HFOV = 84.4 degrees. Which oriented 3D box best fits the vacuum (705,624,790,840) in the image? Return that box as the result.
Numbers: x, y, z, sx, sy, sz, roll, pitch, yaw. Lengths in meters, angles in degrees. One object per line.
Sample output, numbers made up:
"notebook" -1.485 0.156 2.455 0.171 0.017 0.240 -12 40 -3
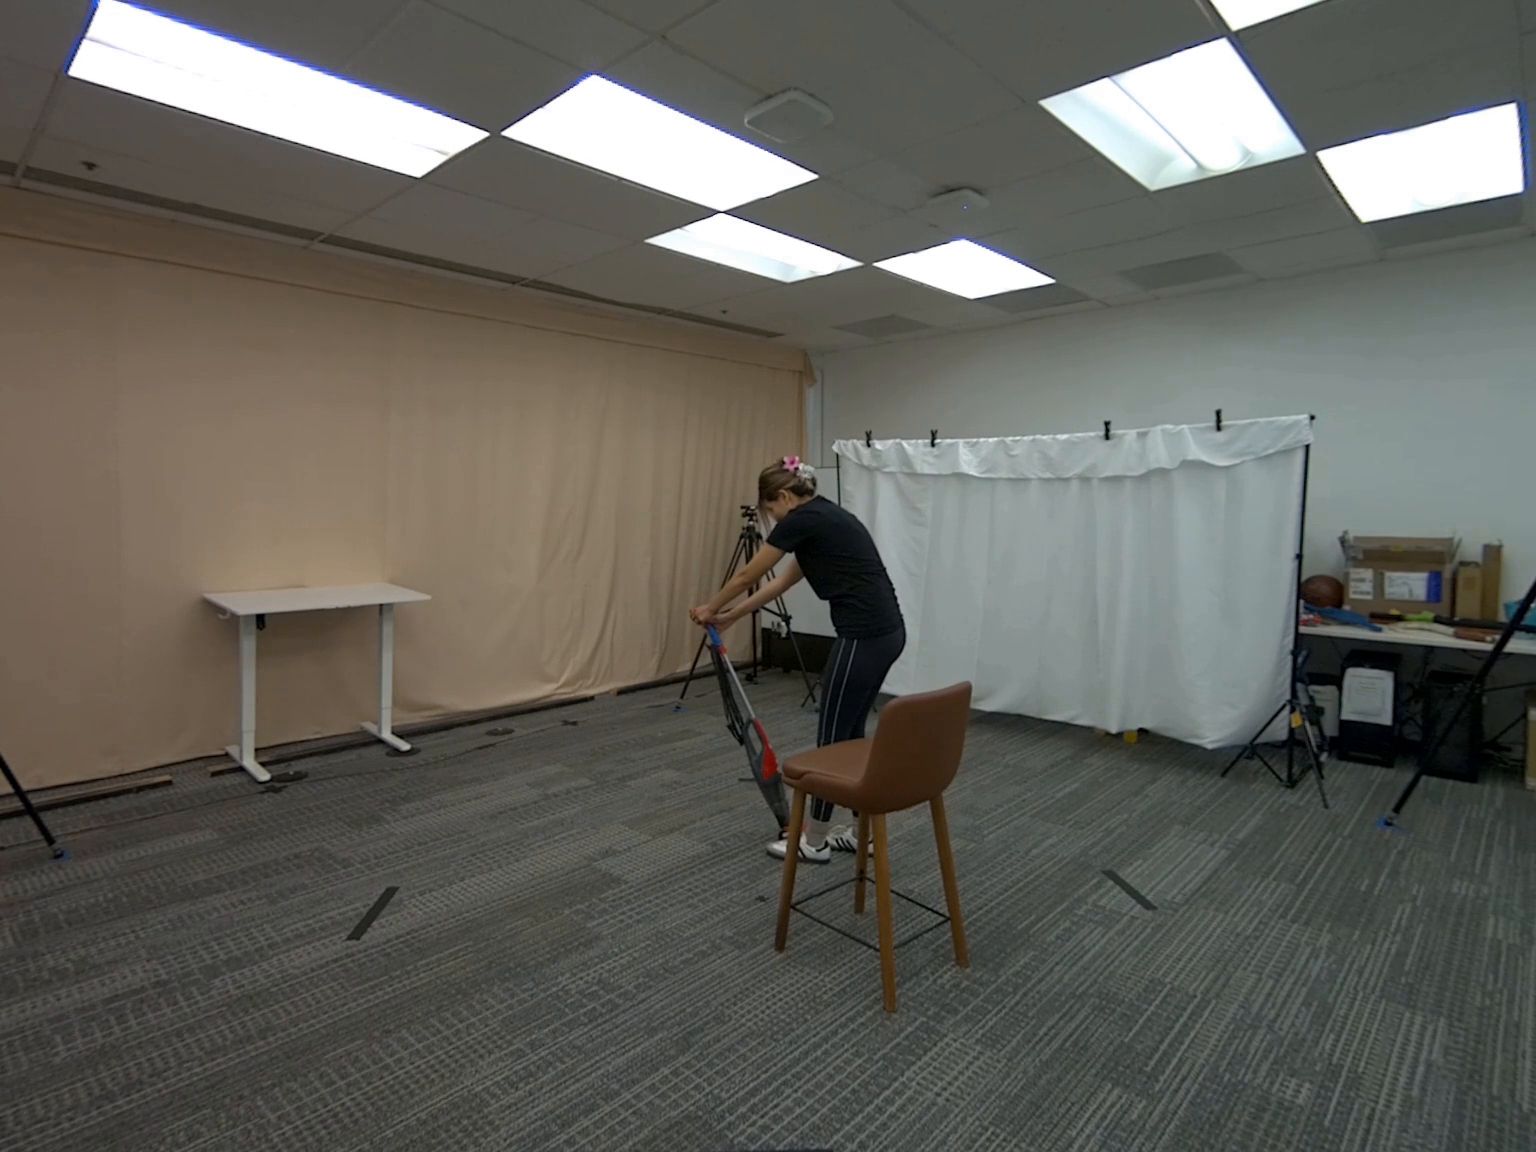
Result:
"vacuum" -0.095 0.621 3.596 0.146 1.058 0.246 -32 -10 33
